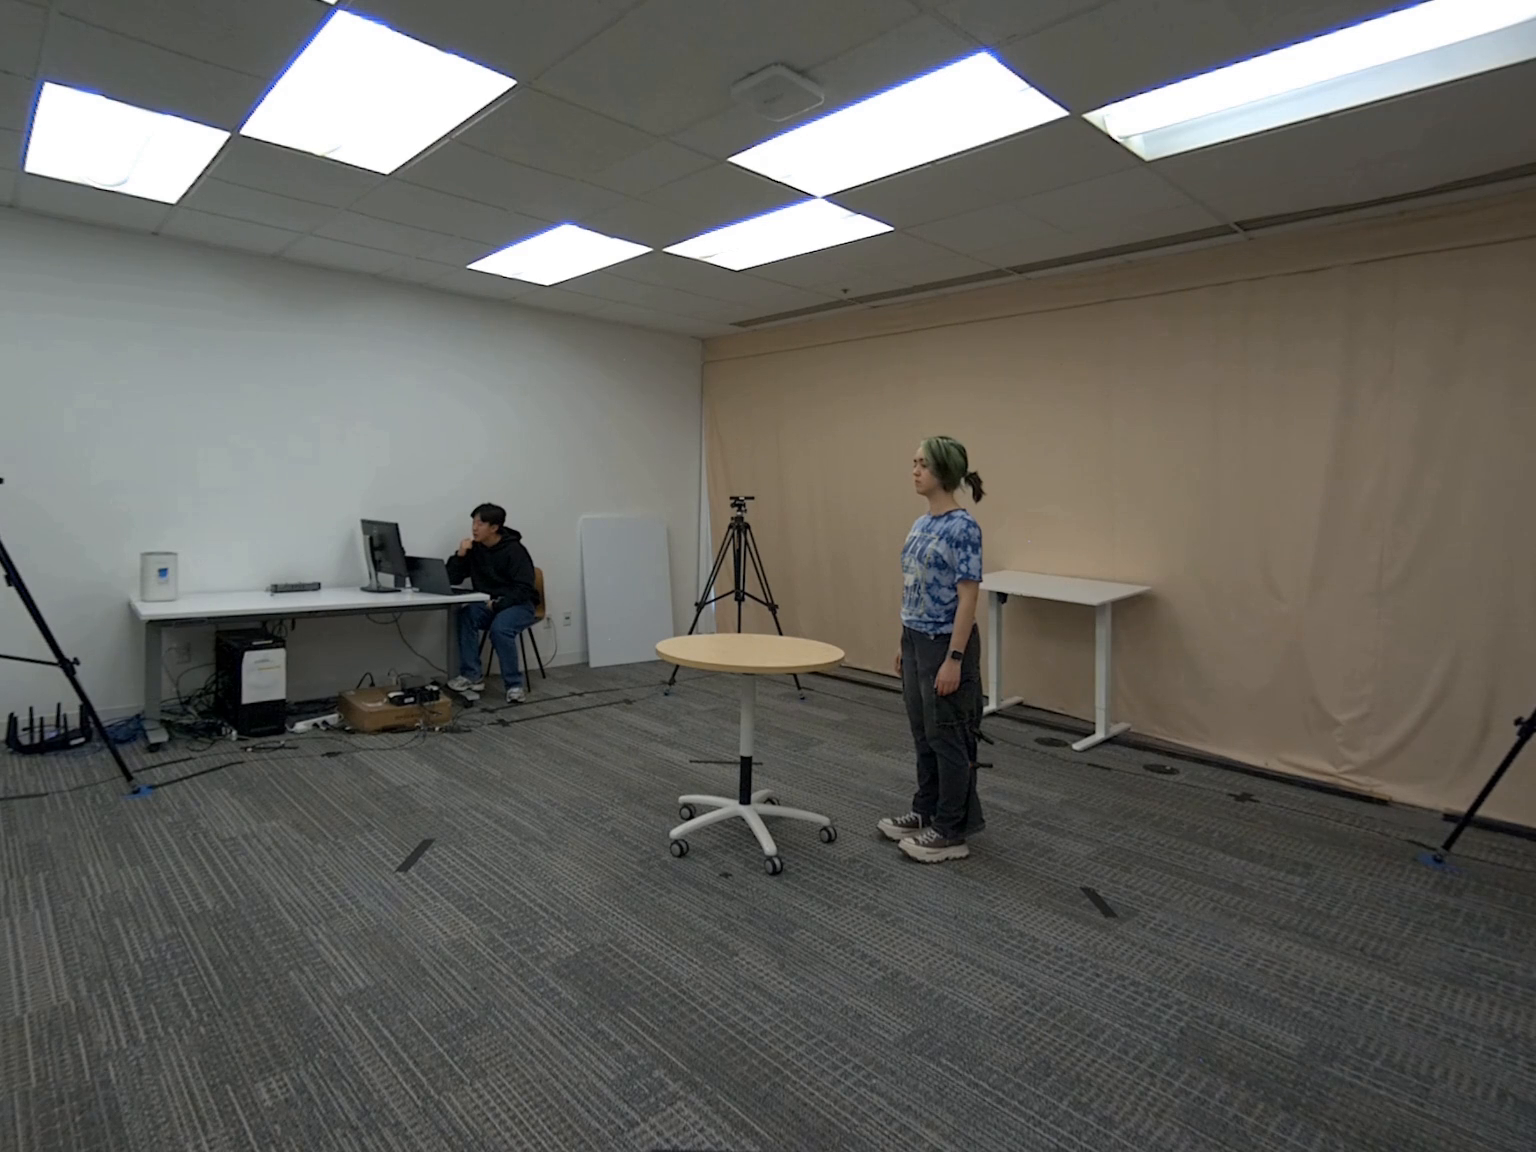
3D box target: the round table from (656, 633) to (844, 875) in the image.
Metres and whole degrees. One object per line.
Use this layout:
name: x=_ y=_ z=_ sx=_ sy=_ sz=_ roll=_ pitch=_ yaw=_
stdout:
round table: x=-0.092 y=0.688 z=3.430 sx=0.763 sy=0.792 sz=0.766 roll=2 pitch=4 yaw=-1
